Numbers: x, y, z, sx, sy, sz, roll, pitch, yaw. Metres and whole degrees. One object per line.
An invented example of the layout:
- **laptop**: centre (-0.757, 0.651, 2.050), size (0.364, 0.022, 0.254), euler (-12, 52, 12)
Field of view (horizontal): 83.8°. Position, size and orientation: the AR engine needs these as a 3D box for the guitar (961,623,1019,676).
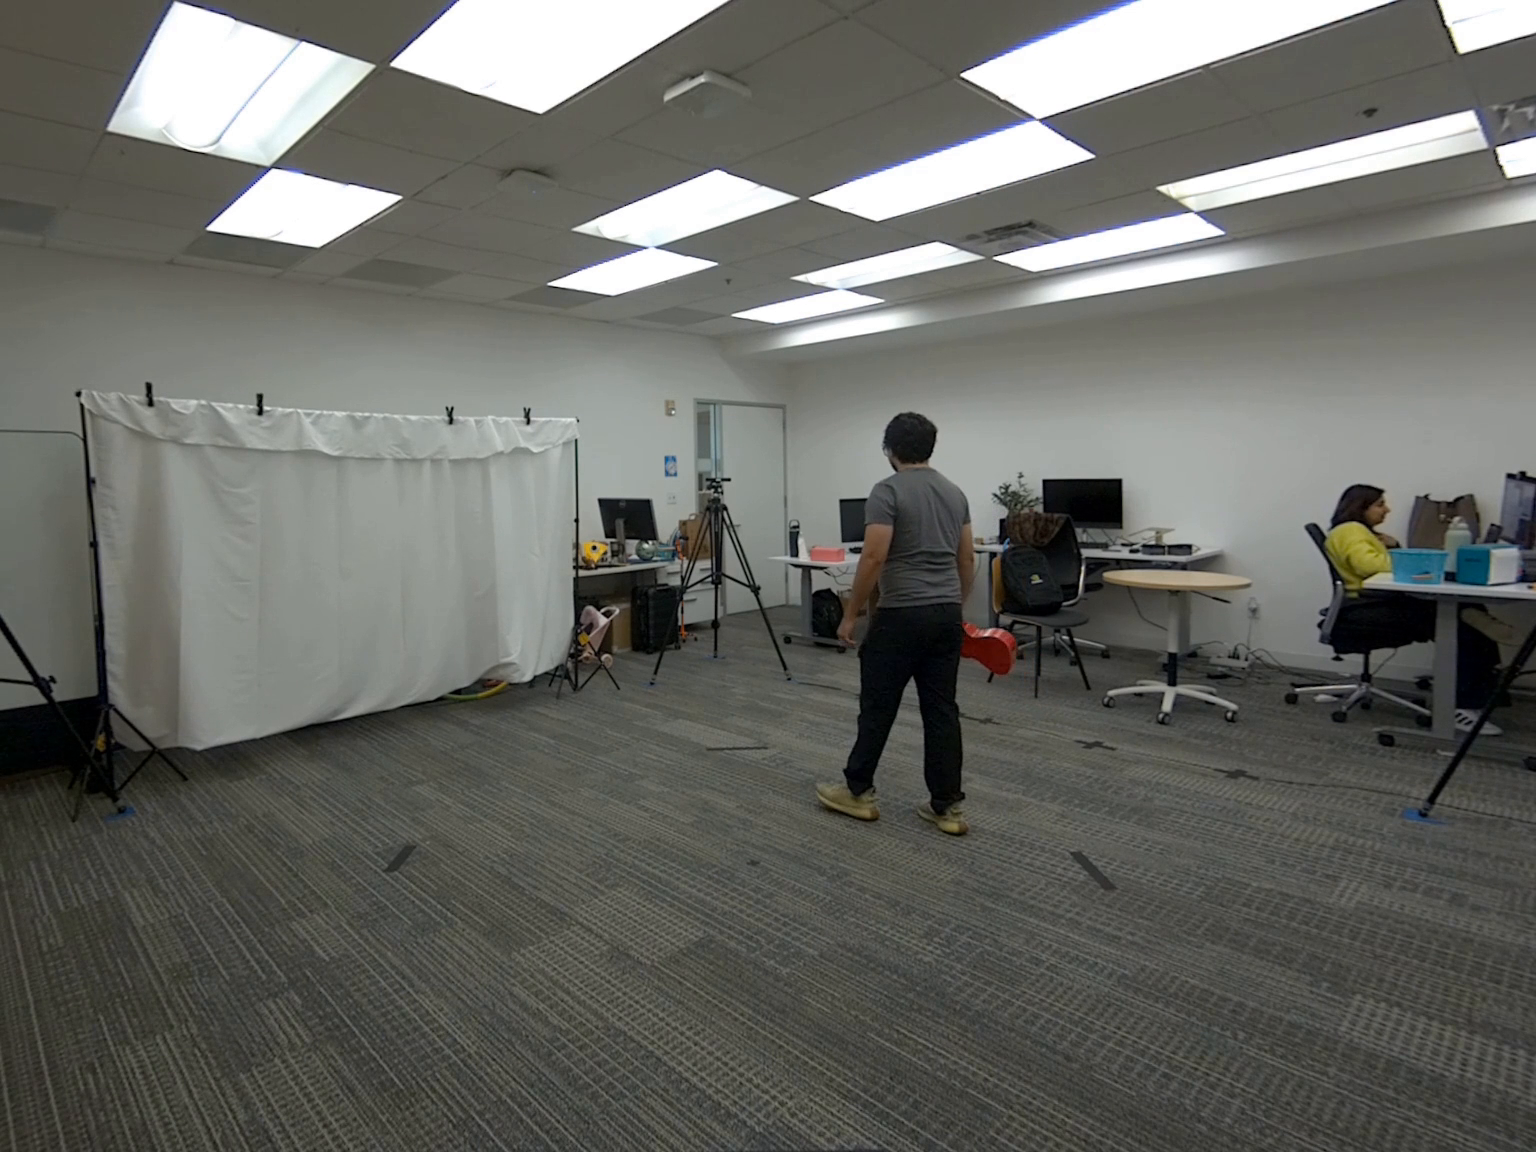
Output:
- **guitar**: centre (0.792, 0.281, 3.600), size (0.515, 0.188, 0.070), euler (12, 39, 44)
